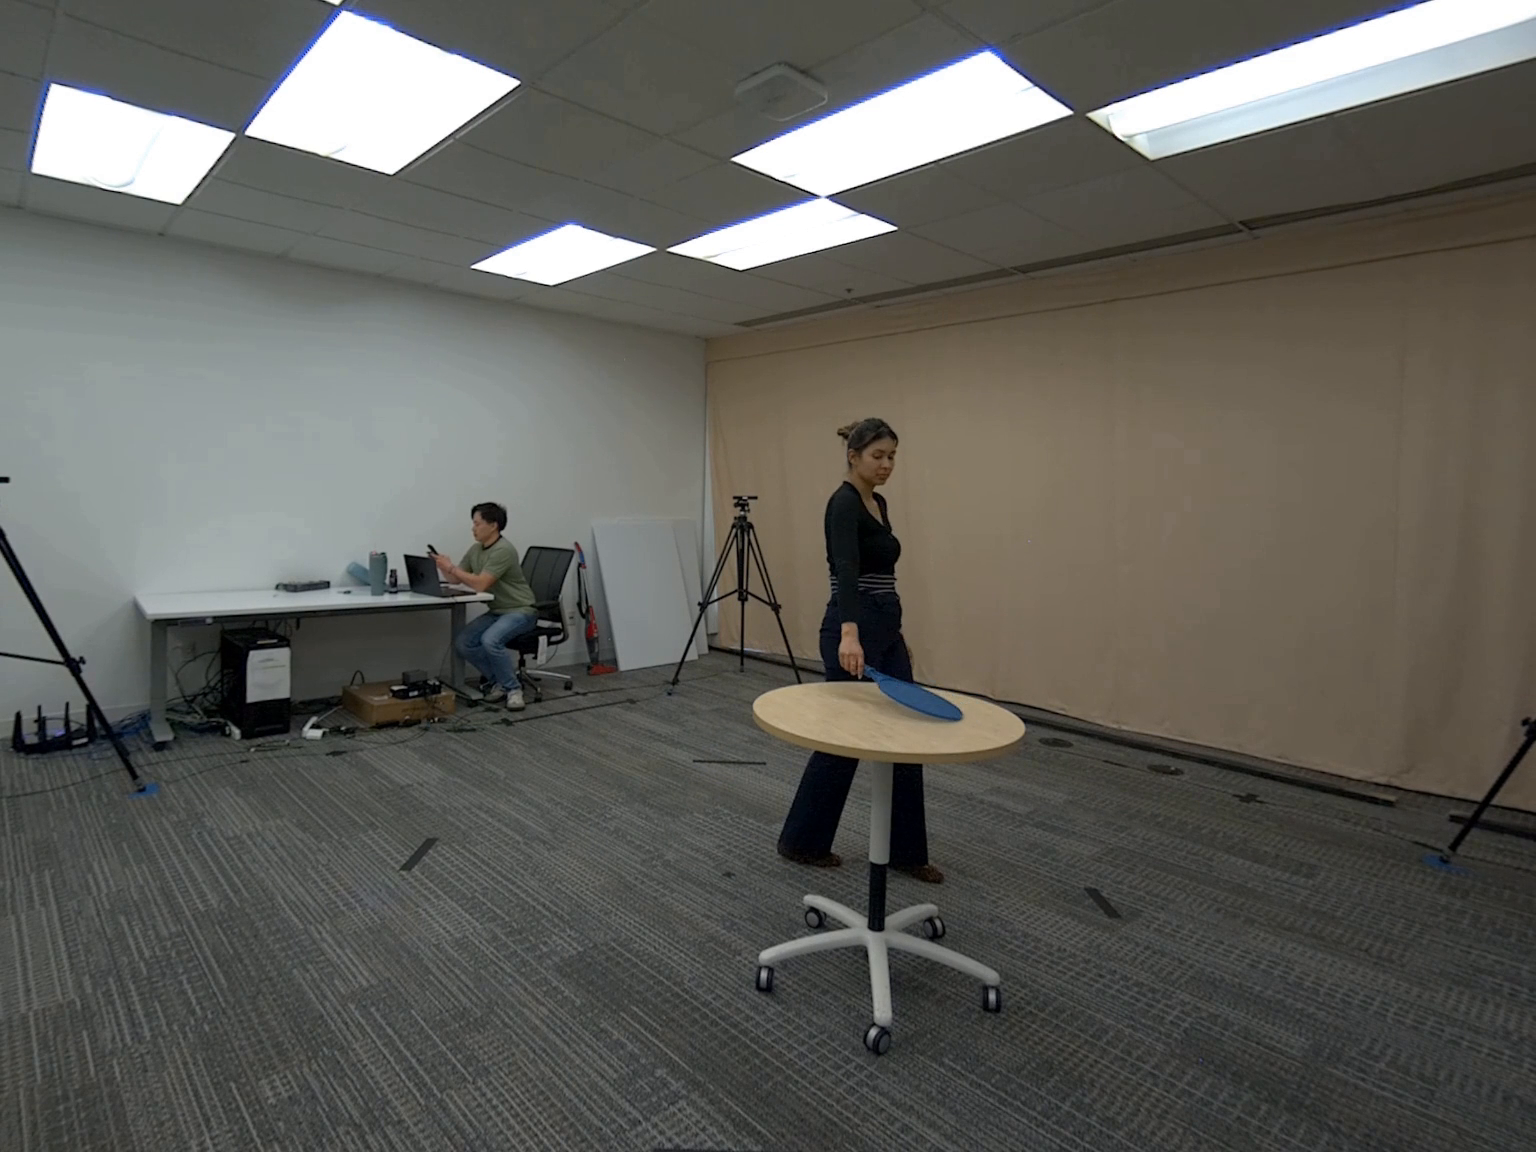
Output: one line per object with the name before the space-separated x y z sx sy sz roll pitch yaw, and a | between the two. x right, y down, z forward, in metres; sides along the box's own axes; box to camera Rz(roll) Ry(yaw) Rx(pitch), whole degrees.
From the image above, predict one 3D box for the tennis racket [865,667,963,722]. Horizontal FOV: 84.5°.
tennis racket | 0.389 0.343 2.504 0.208 0.031 0.446 3 13 -44
